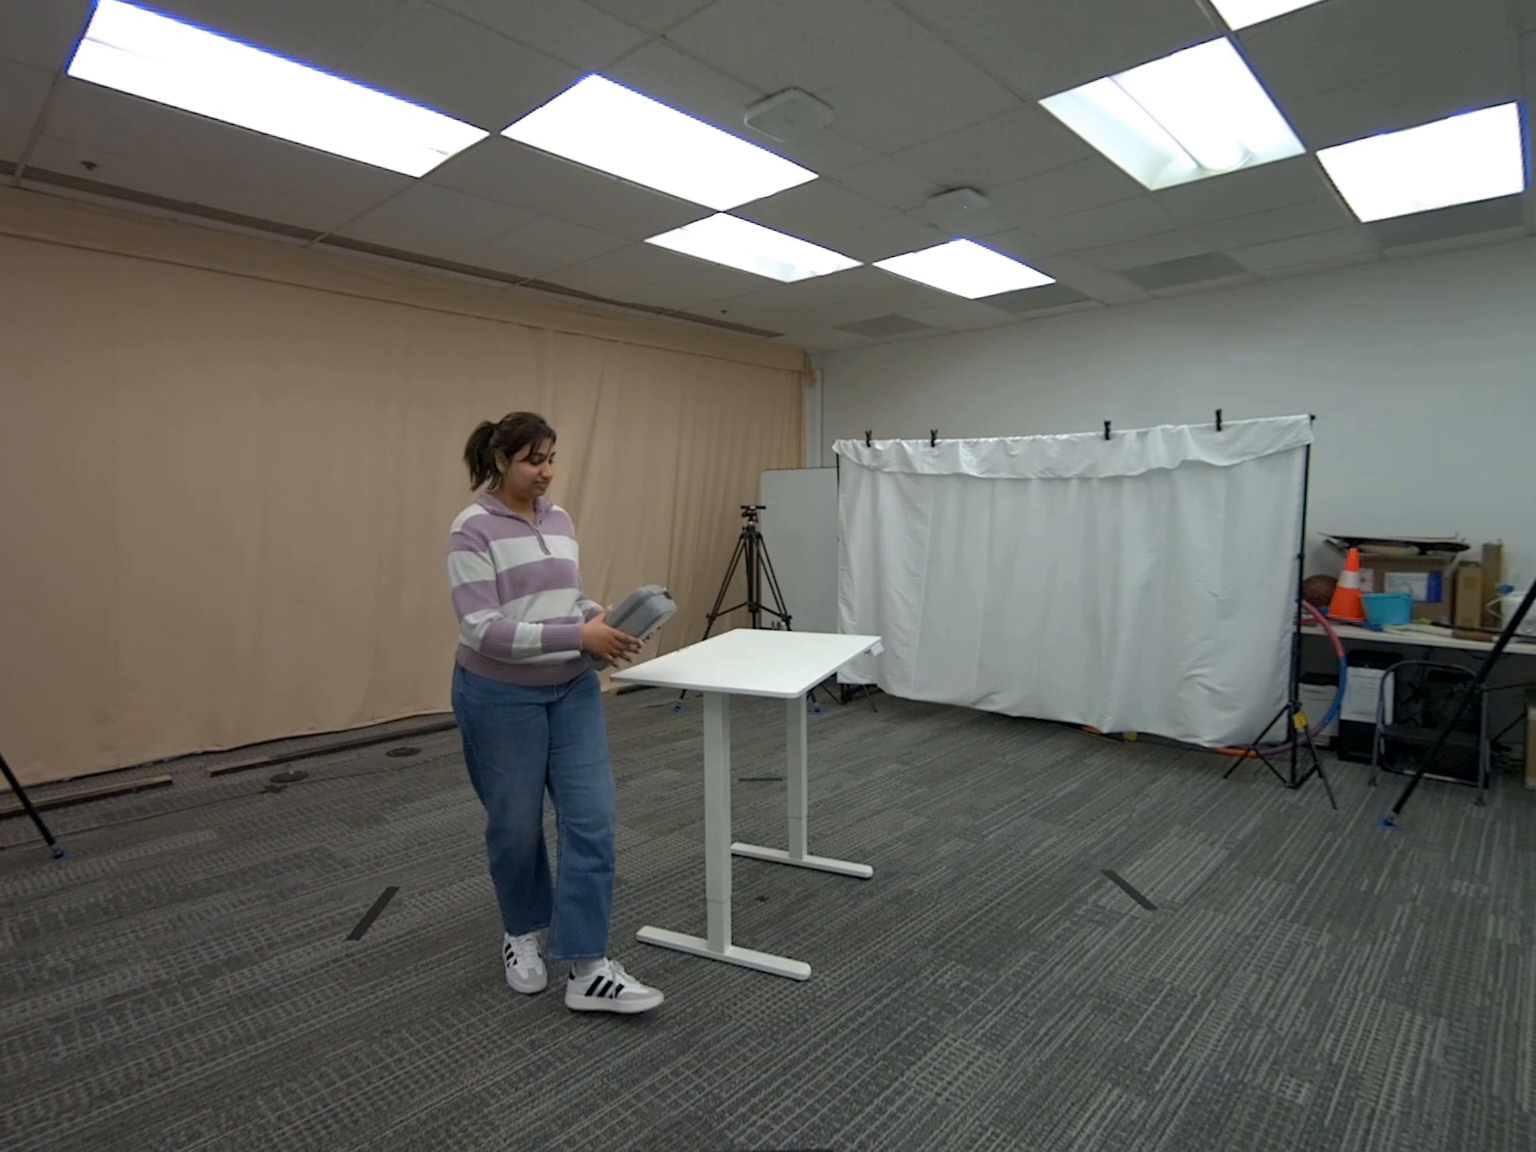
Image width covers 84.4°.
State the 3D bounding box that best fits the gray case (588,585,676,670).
[{"bbox_3d":[-0.382,0.141,2.334,0.261,0.105,0.255,-41,-2,6],"label":"gray case"}]
